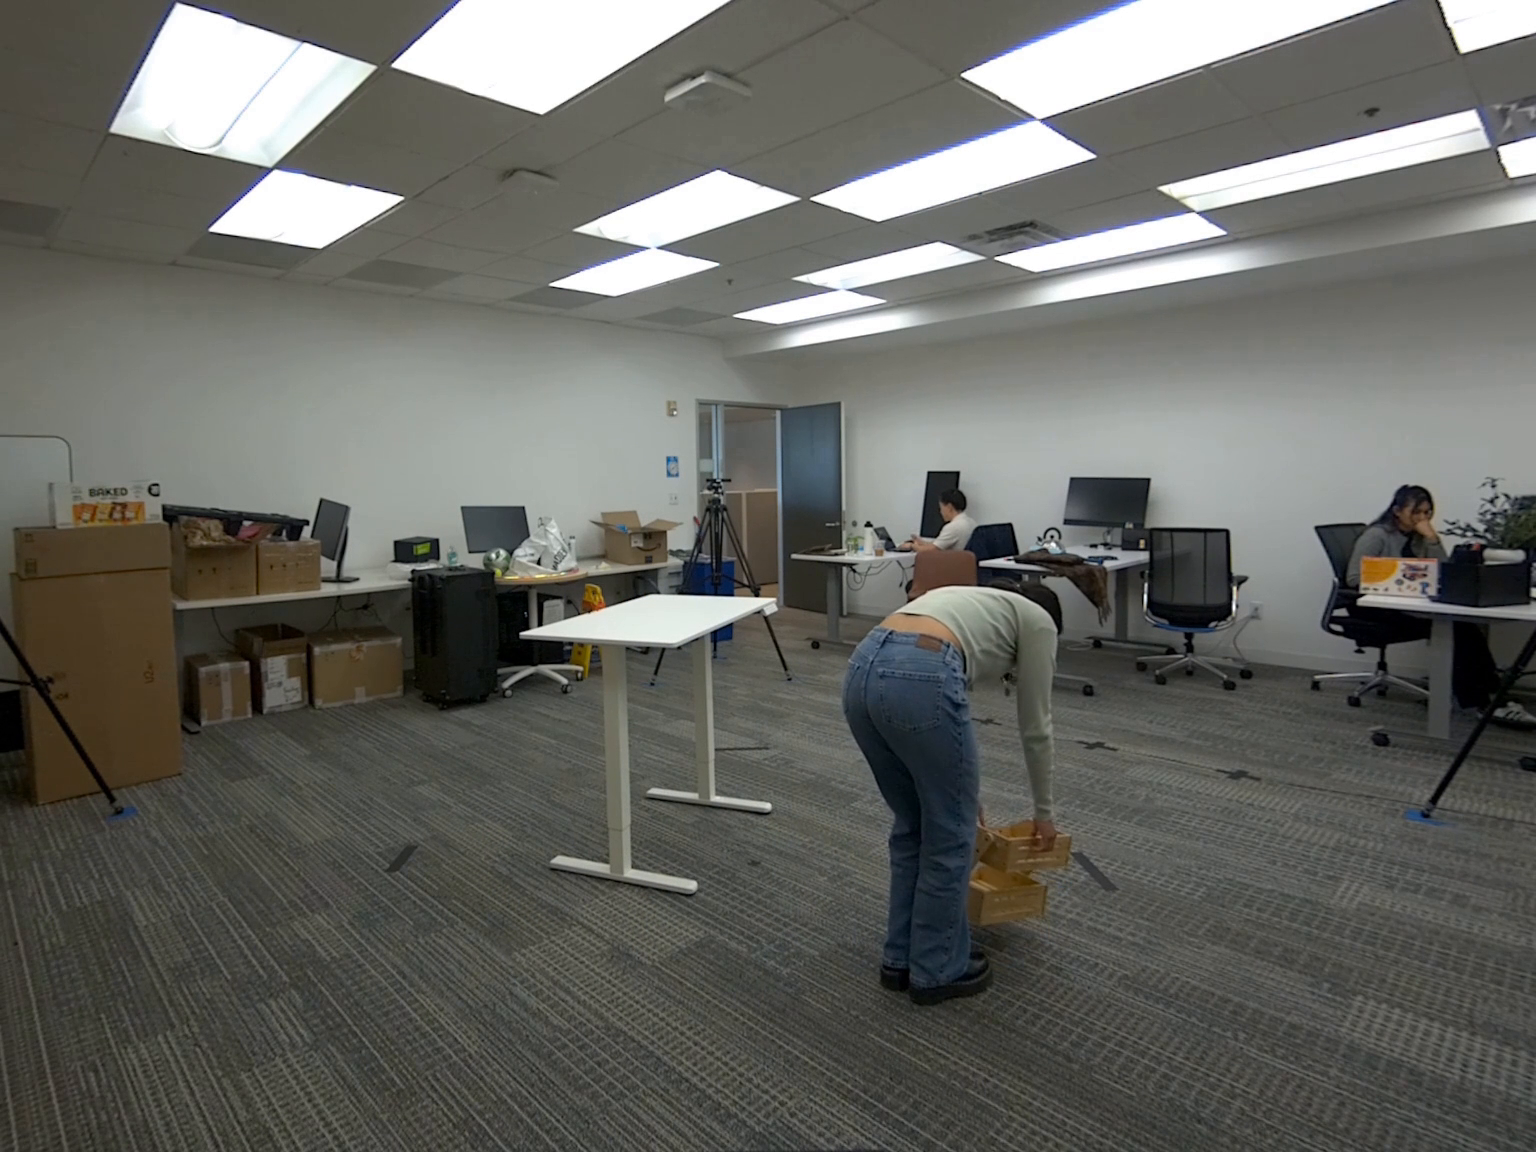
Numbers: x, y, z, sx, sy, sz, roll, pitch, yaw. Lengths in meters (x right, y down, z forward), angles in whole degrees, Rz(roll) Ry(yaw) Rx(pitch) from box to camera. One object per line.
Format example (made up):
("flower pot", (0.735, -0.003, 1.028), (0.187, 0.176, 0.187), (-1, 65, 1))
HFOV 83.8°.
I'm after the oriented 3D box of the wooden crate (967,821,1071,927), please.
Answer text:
("wooden crate", (0.678, 0.853, 2.563), (0.314, 0.273, 0.311), (9, 0, -37))
